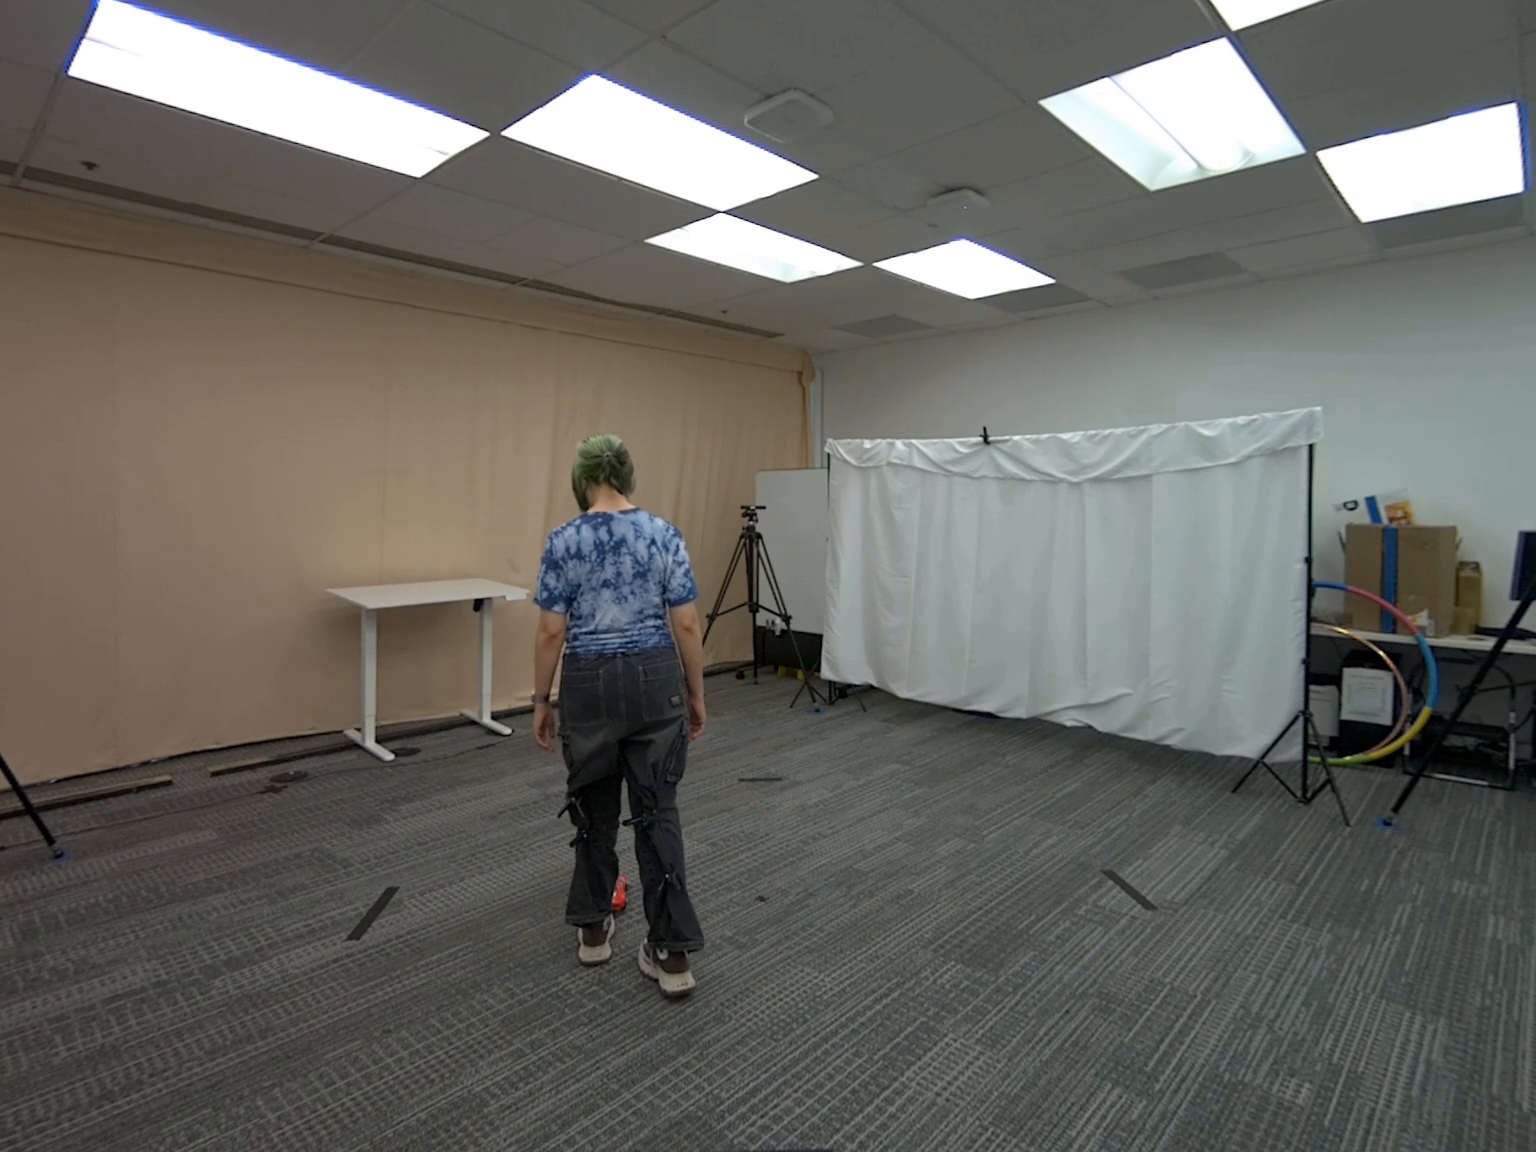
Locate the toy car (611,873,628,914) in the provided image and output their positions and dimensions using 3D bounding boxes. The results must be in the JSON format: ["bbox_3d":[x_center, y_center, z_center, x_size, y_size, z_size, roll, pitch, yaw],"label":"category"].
[{"bbox_3d":[-0.563,1.121,2.962,0.130,0.083,0.254,1,-7,-5],"label":"toy car"}]
